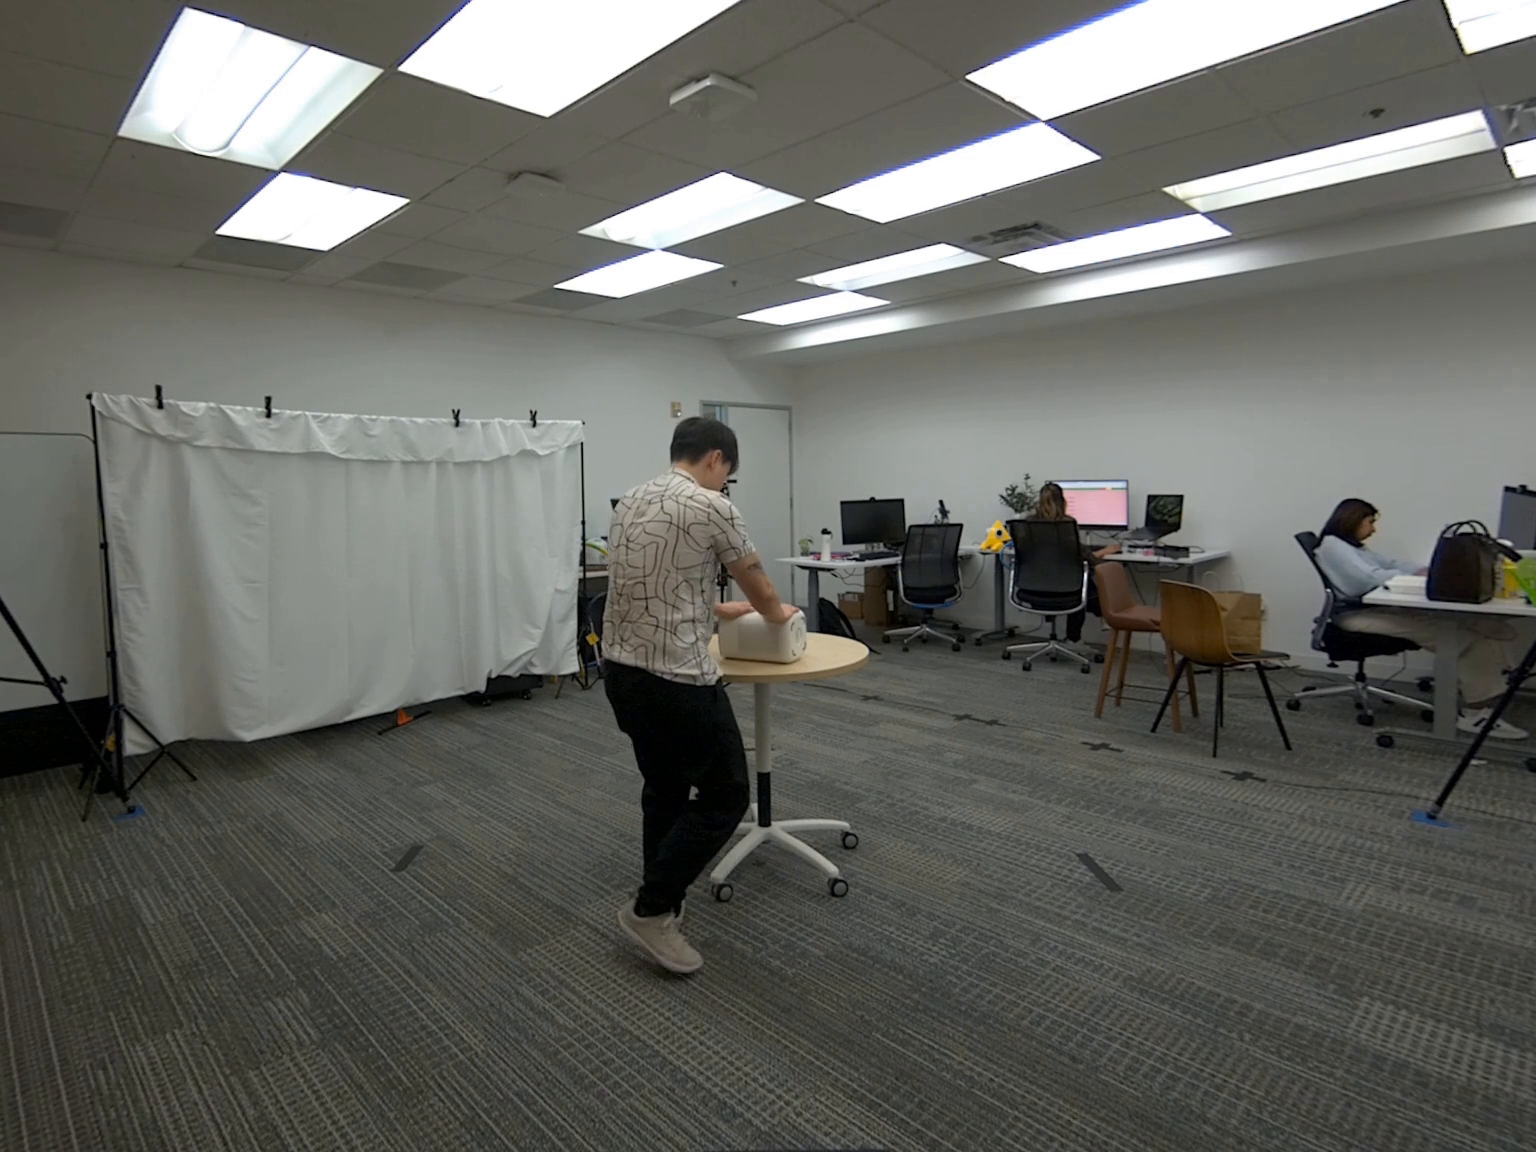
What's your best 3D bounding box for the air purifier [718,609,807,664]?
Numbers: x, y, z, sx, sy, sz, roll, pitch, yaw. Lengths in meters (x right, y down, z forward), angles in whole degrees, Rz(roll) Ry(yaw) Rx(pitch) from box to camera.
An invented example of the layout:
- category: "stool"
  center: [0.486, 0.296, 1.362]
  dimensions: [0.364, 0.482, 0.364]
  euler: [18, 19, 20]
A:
- category: "air purifier"
  center: [-0.013, 0.199, 2.930]
  dimensions: [0.272, 0.170, 0.168]
  euler: [2, 9, 28]
